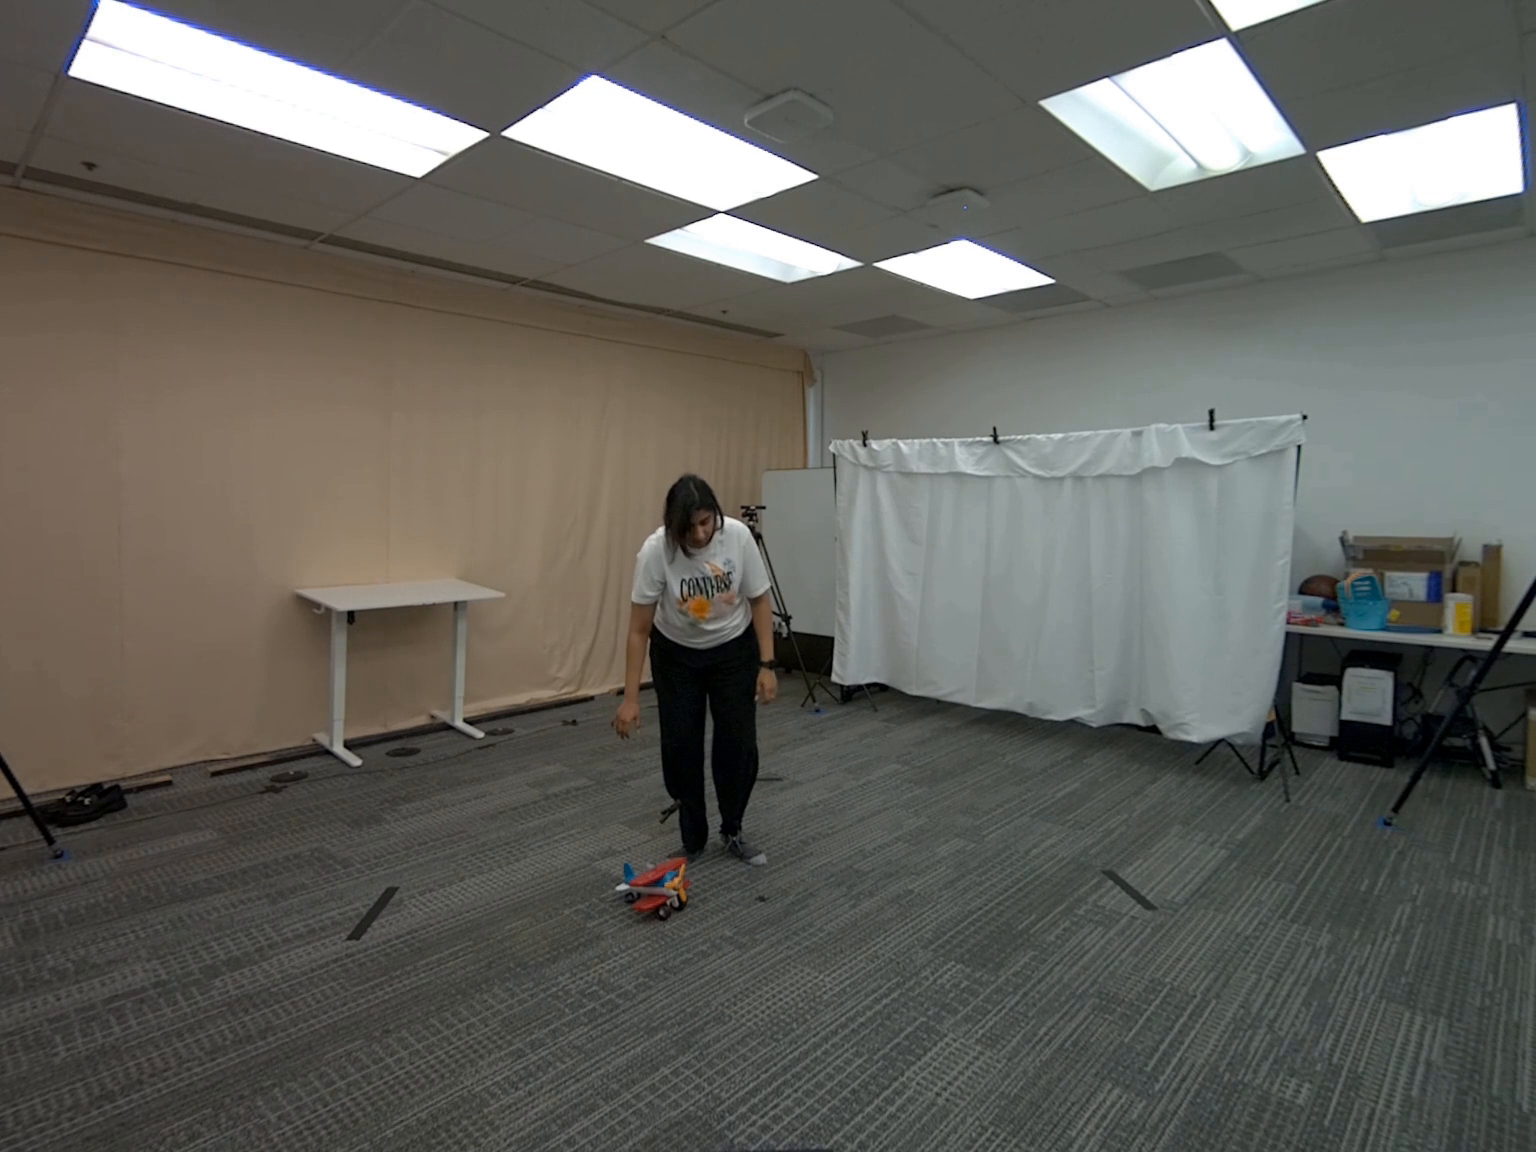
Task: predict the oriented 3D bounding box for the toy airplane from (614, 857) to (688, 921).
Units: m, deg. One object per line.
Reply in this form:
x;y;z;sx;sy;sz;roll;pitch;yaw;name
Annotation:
-0.407;1.069;2.902;0.261;0.156;0.250;1;5;7;toy airplane
